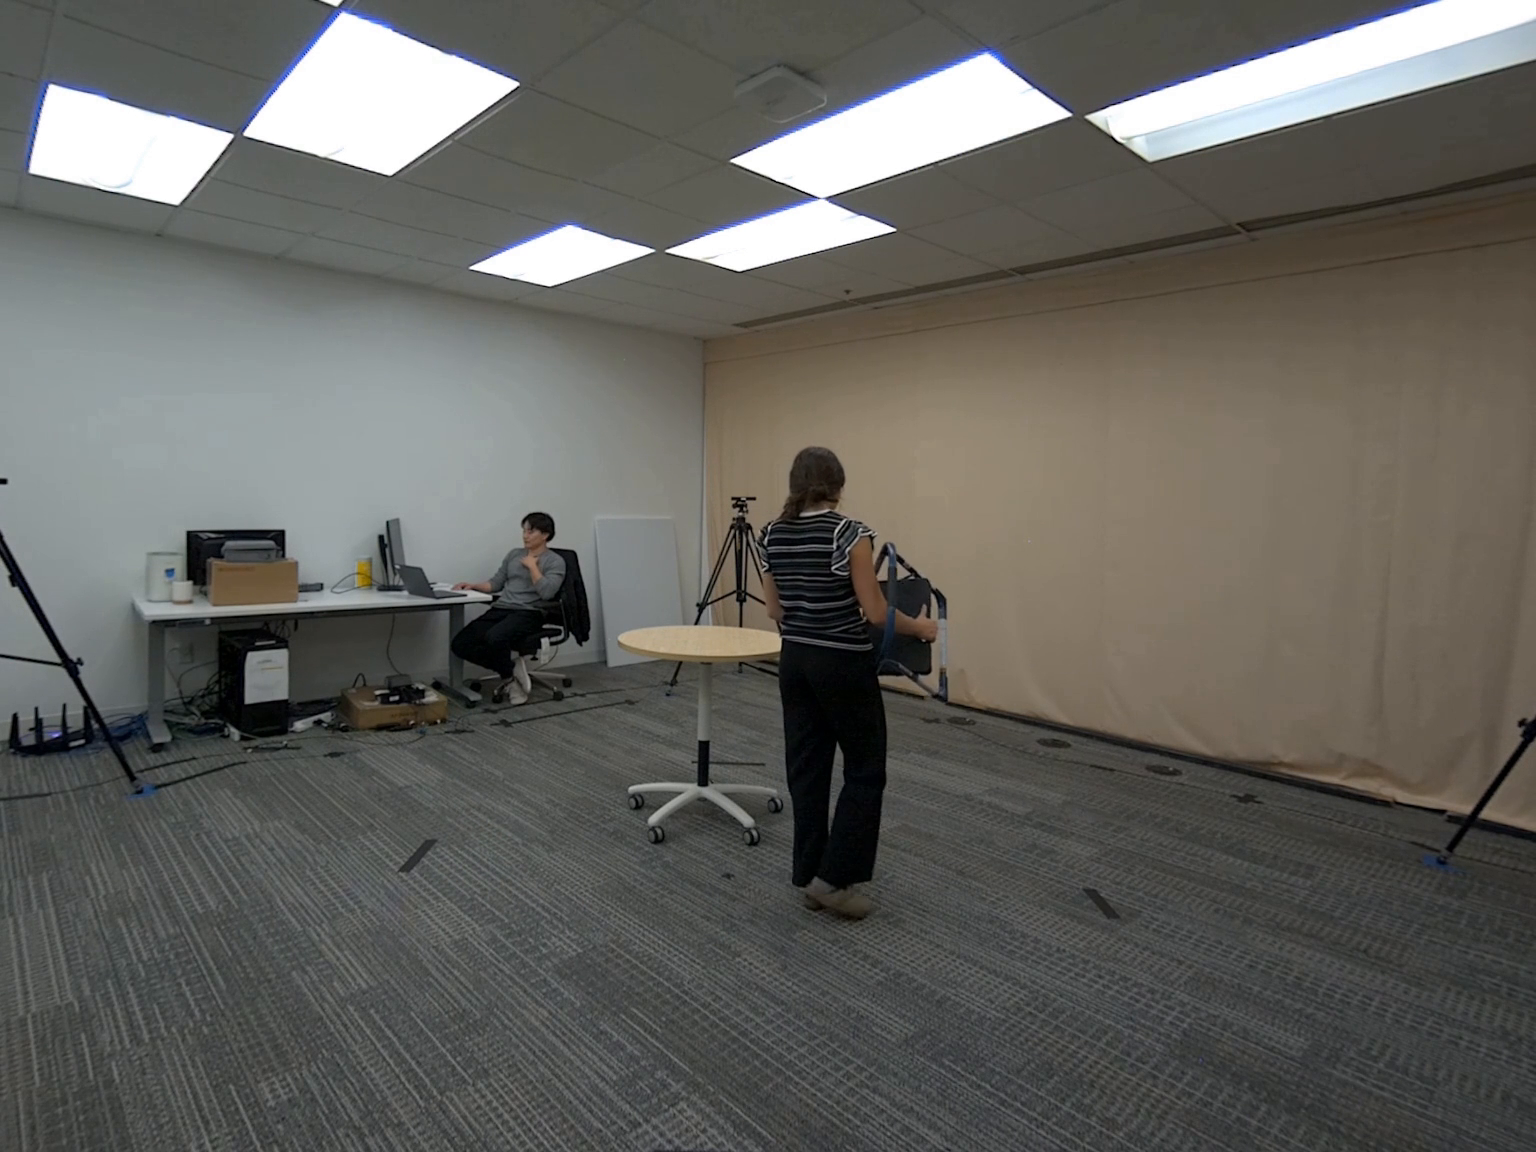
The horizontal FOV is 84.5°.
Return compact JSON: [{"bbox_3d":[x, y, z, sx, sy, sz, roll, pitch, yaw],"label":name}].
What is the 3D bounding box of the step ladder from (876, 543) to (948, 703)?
[{"bbox_3d":[0.404,0.154,2.939,0.354,0.437,0.588,-5,-28,18],"label":"step ladder"}]
